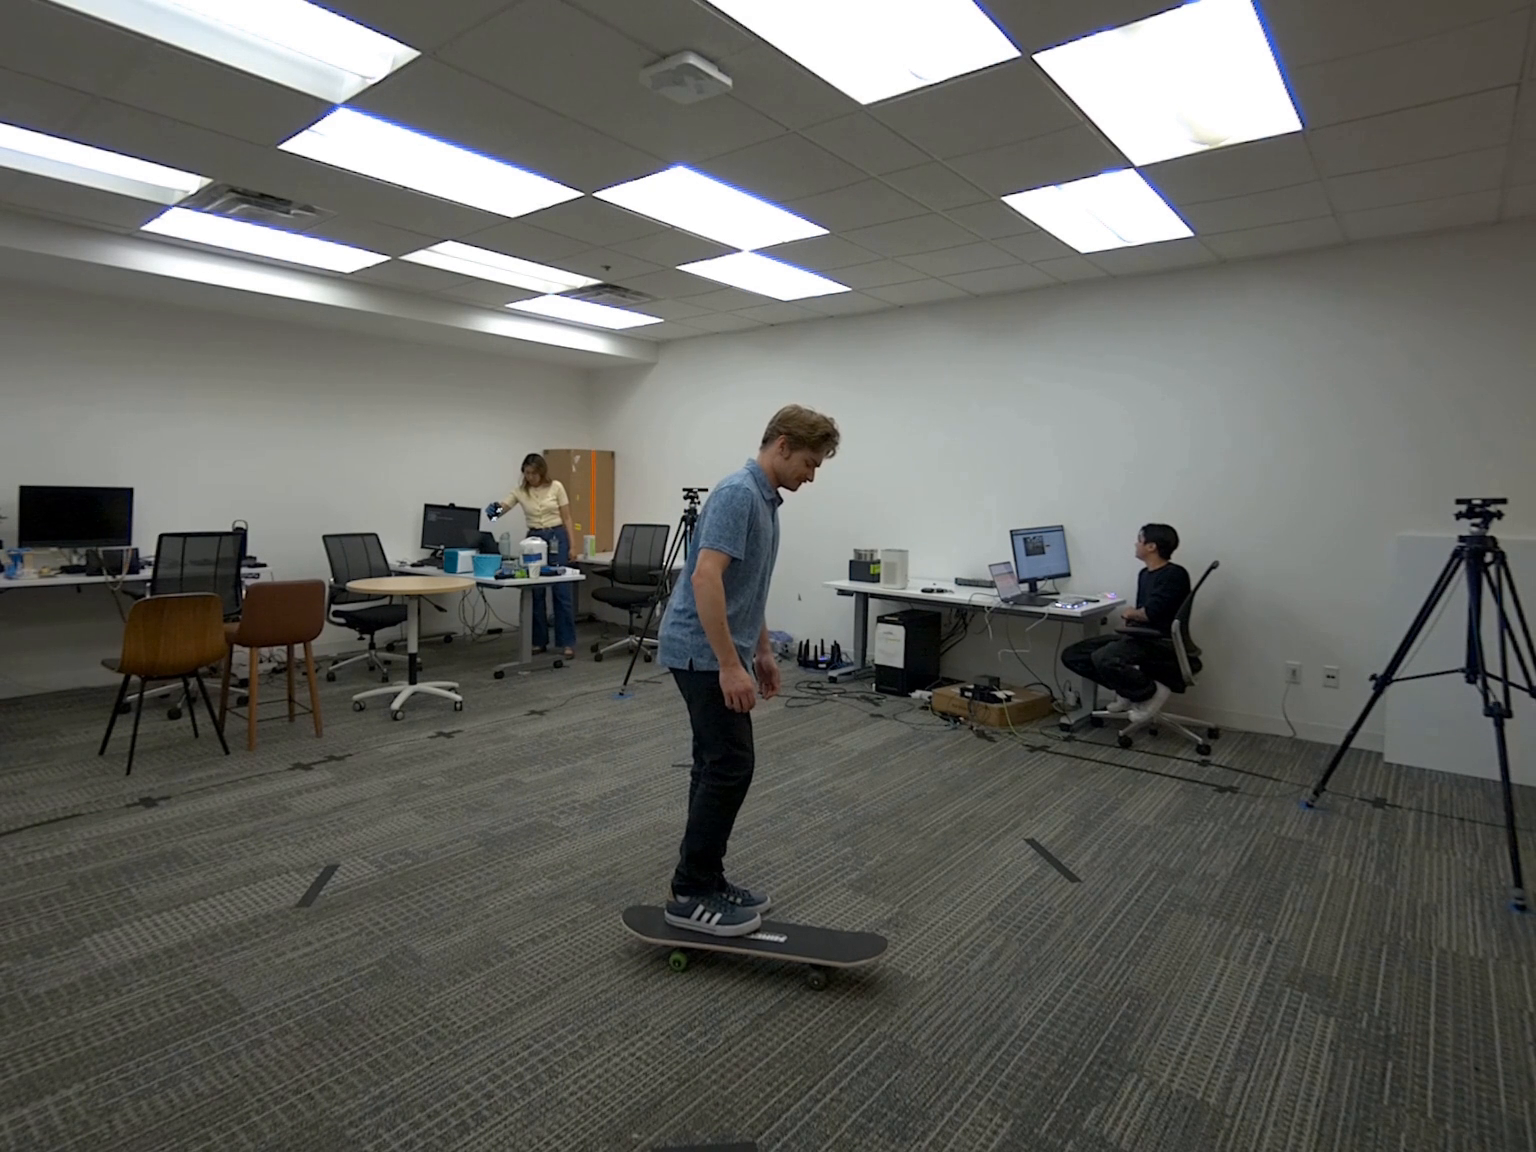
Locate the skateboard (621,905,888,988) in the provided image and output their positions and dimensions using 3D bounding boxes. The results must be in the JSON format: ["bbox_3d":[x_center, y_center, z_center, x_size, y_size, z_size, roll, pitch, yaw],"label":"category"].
[{"bbox_3d":[-0.061,1.072,2.491,0.794,0.110,0.192,2,3,10],"label":"skateboard"}]
